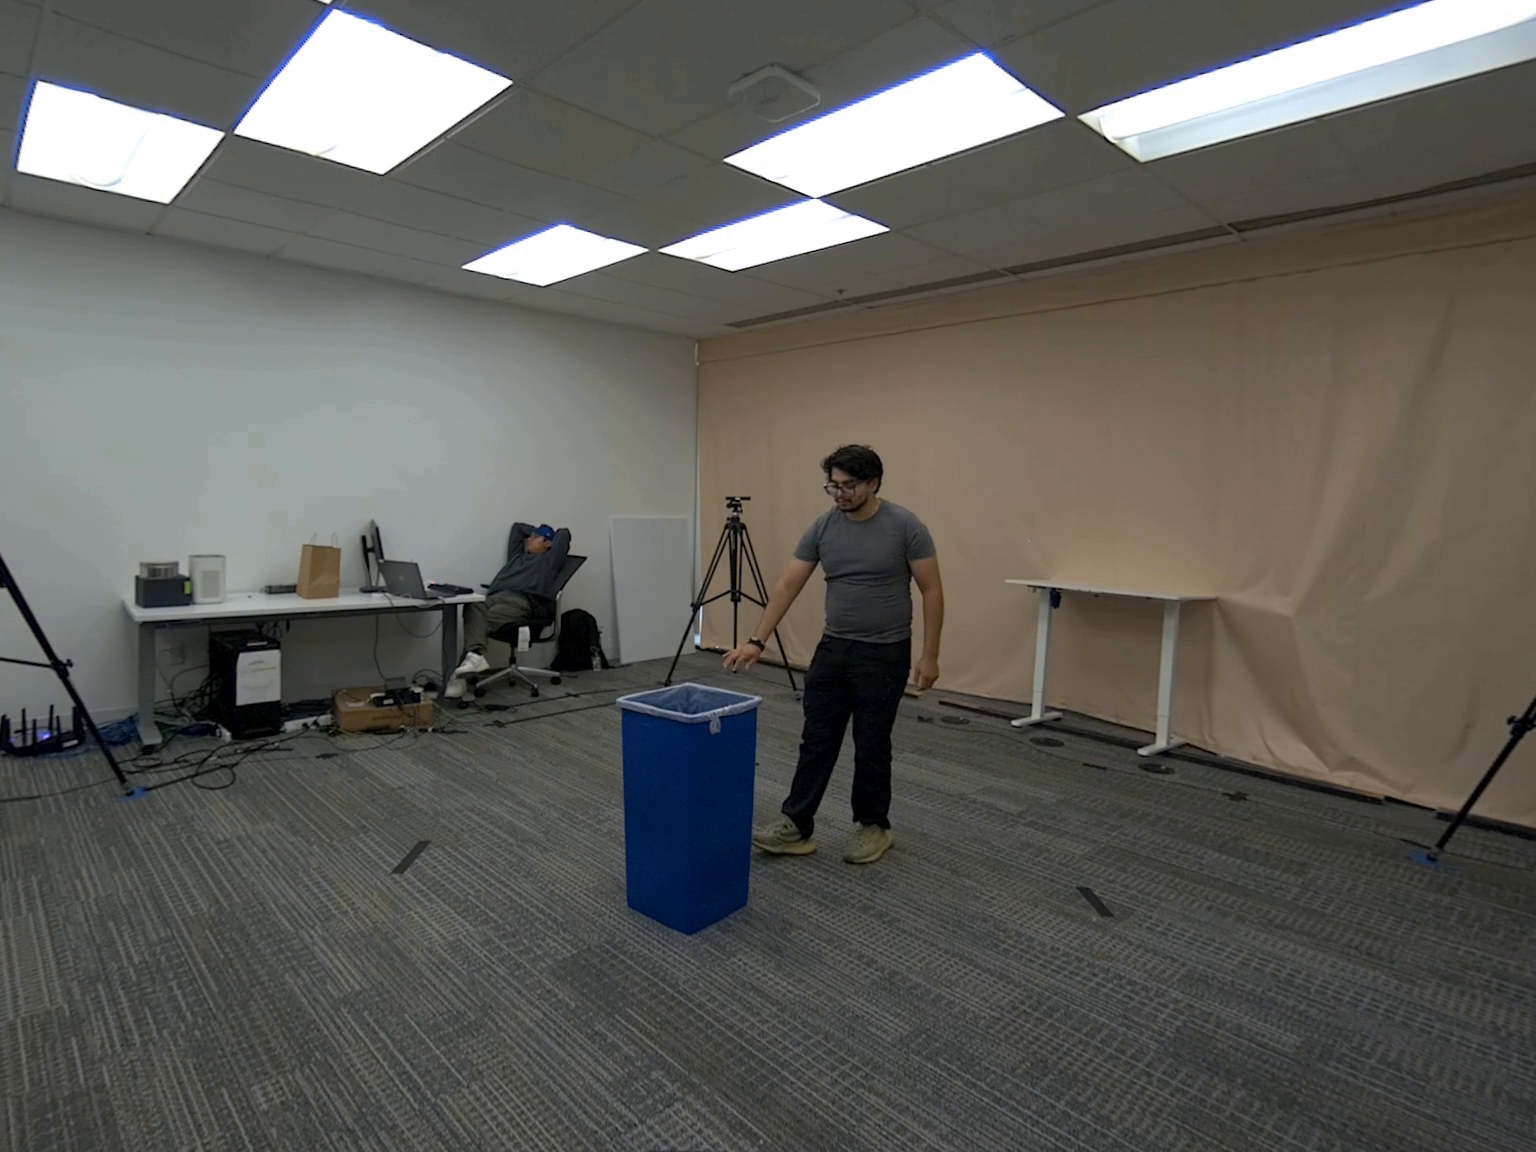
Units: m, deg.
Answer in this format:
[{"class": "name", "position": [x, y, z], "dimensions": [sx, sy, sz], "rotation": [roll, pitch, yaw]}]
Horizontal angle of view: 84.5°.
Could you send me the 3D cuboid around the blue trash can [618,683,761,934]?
[{"class": "blue trash can", "position": [-0.283, 0.768, 2.862], "dimensions": [0.383, 0.712, 0.369], "rotation": [4, 4, 39]}]
